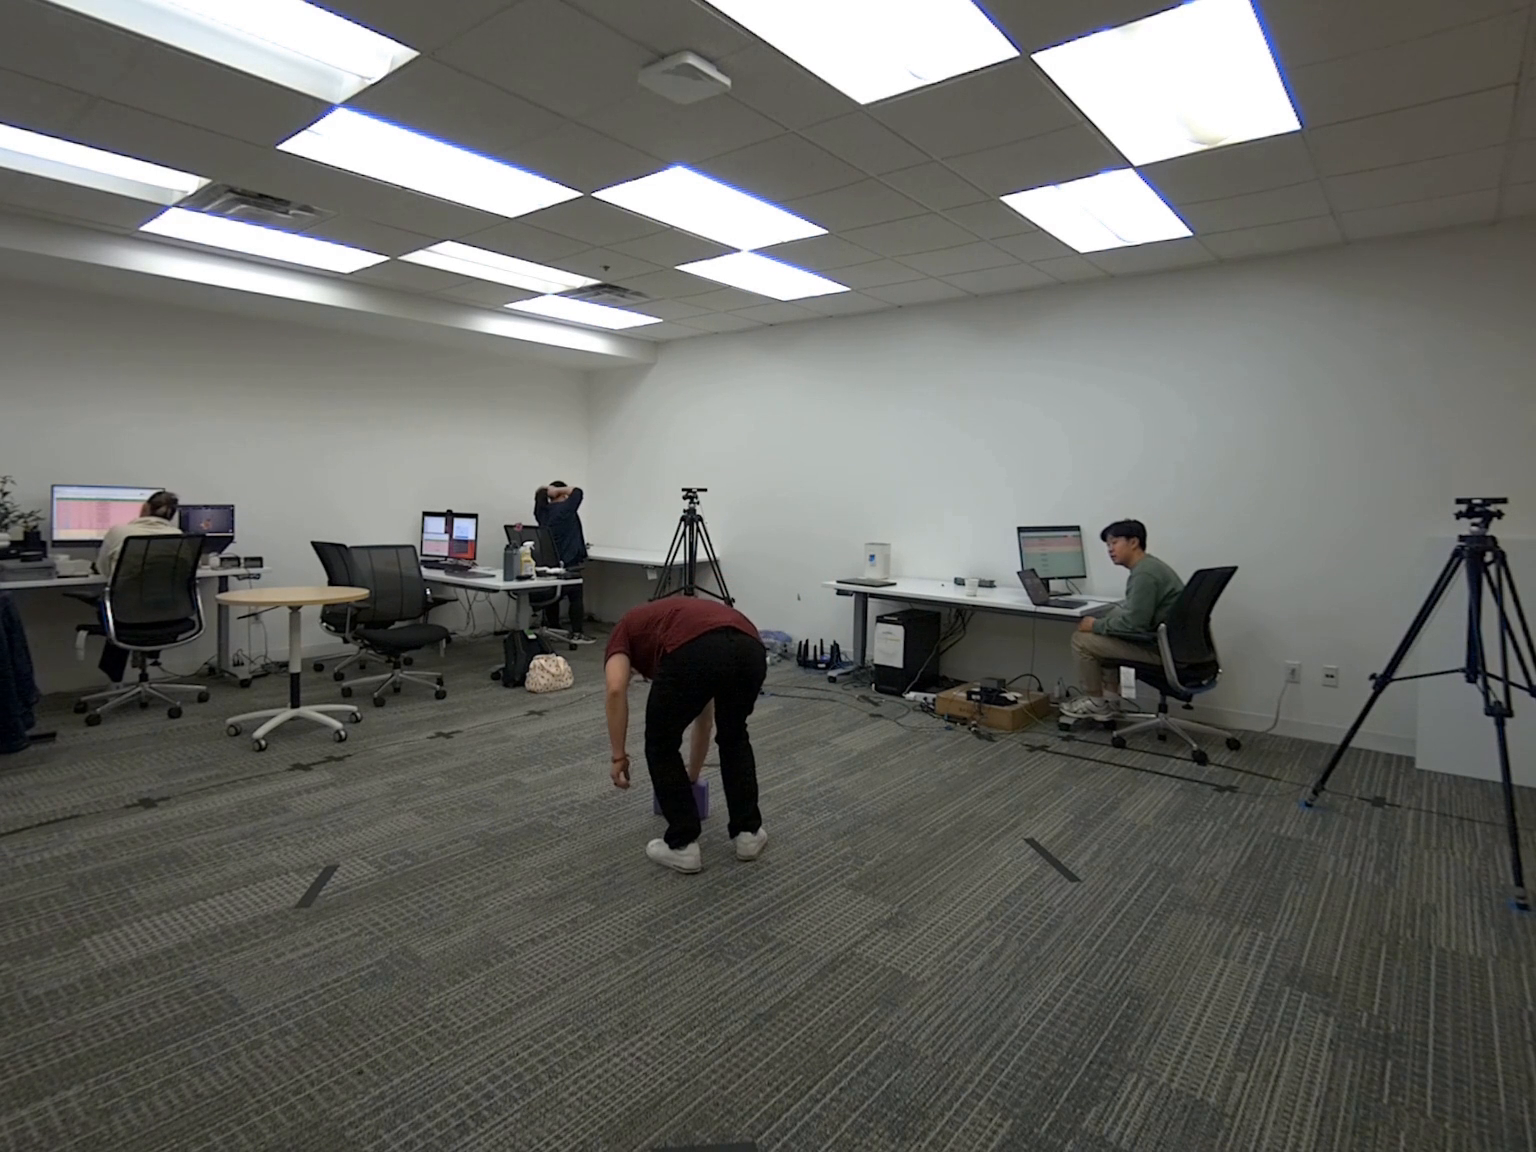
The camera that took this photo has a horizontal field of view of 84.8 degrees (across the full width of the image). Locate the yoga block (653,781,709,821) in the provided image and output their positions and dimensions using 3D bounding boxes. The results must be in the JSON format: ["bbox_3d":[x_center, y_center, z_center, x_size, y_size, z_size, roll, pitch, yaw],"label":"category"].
[{"bbox_3d":[-0.380,0.942,3.626,0.233,0.149,0.075,1,3,13],"label":"yoga block"}]
